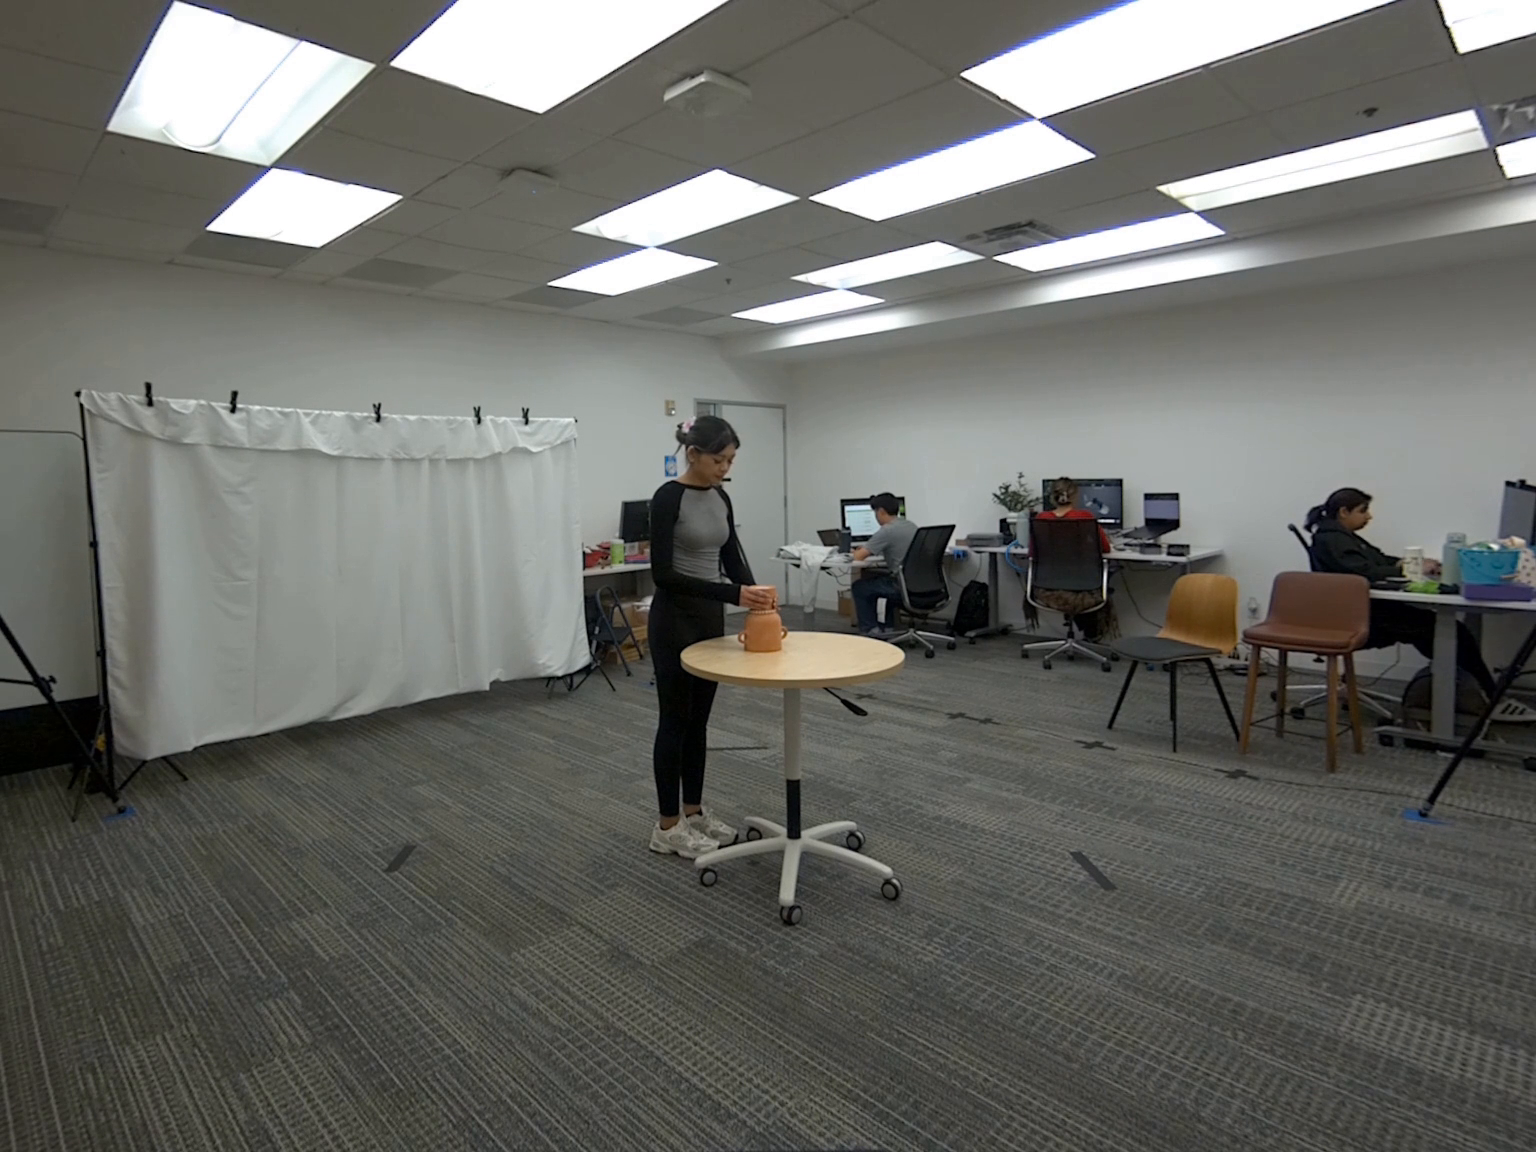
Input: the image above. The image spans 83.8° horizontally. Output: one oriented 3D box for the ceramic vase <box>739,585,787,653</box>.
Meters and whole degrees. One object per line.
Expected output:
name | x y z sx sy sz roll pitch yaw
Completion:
ceramic vase | -0.023 0.147 3.016 0.137 0.220 0.155 -3 0 23
